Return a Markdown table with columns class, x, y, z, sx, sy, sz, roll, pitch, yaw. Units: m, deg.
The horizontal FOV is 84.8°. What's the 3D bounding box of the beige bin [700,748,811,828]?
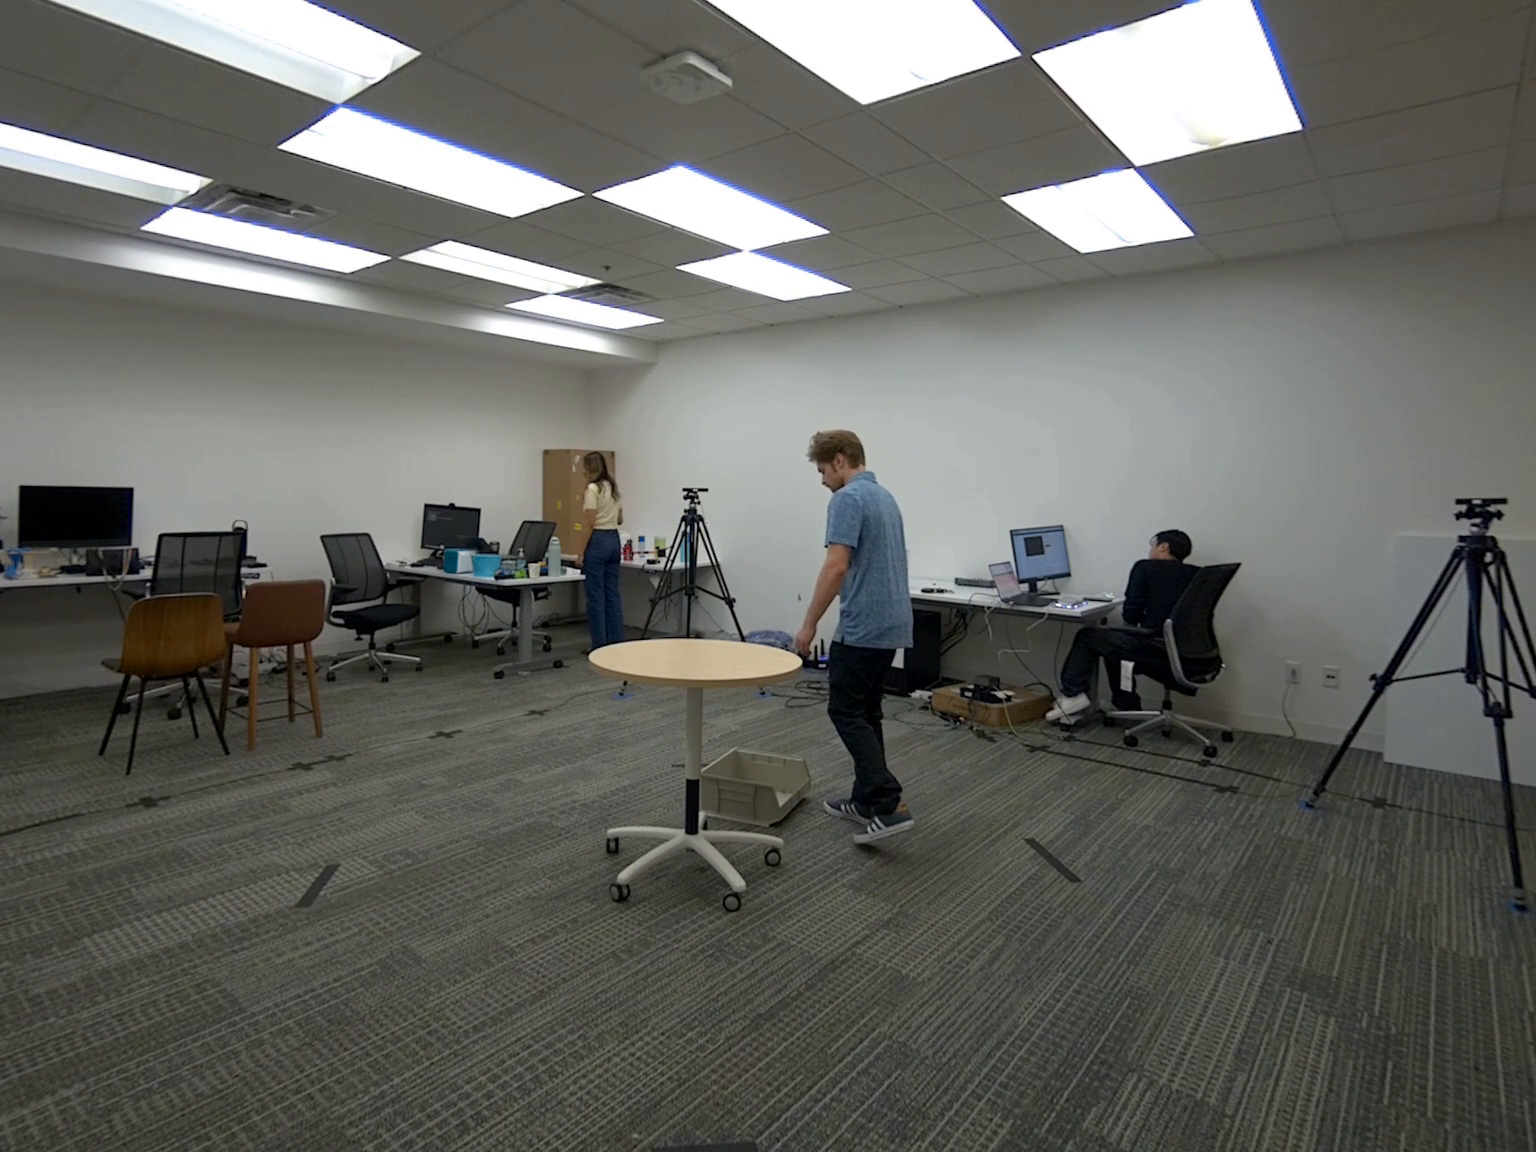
| class | x | y | z | sx | sy | sz | roll | pitch | yaw |
| --- | --- | --- | --- | --- | --- | --- | --- | --- | --- |
| beige bin | -0.061 | 0.922 | 3.750 | 0.386 | 0.188 | 0.414 | 2 | 5 | 23 |
